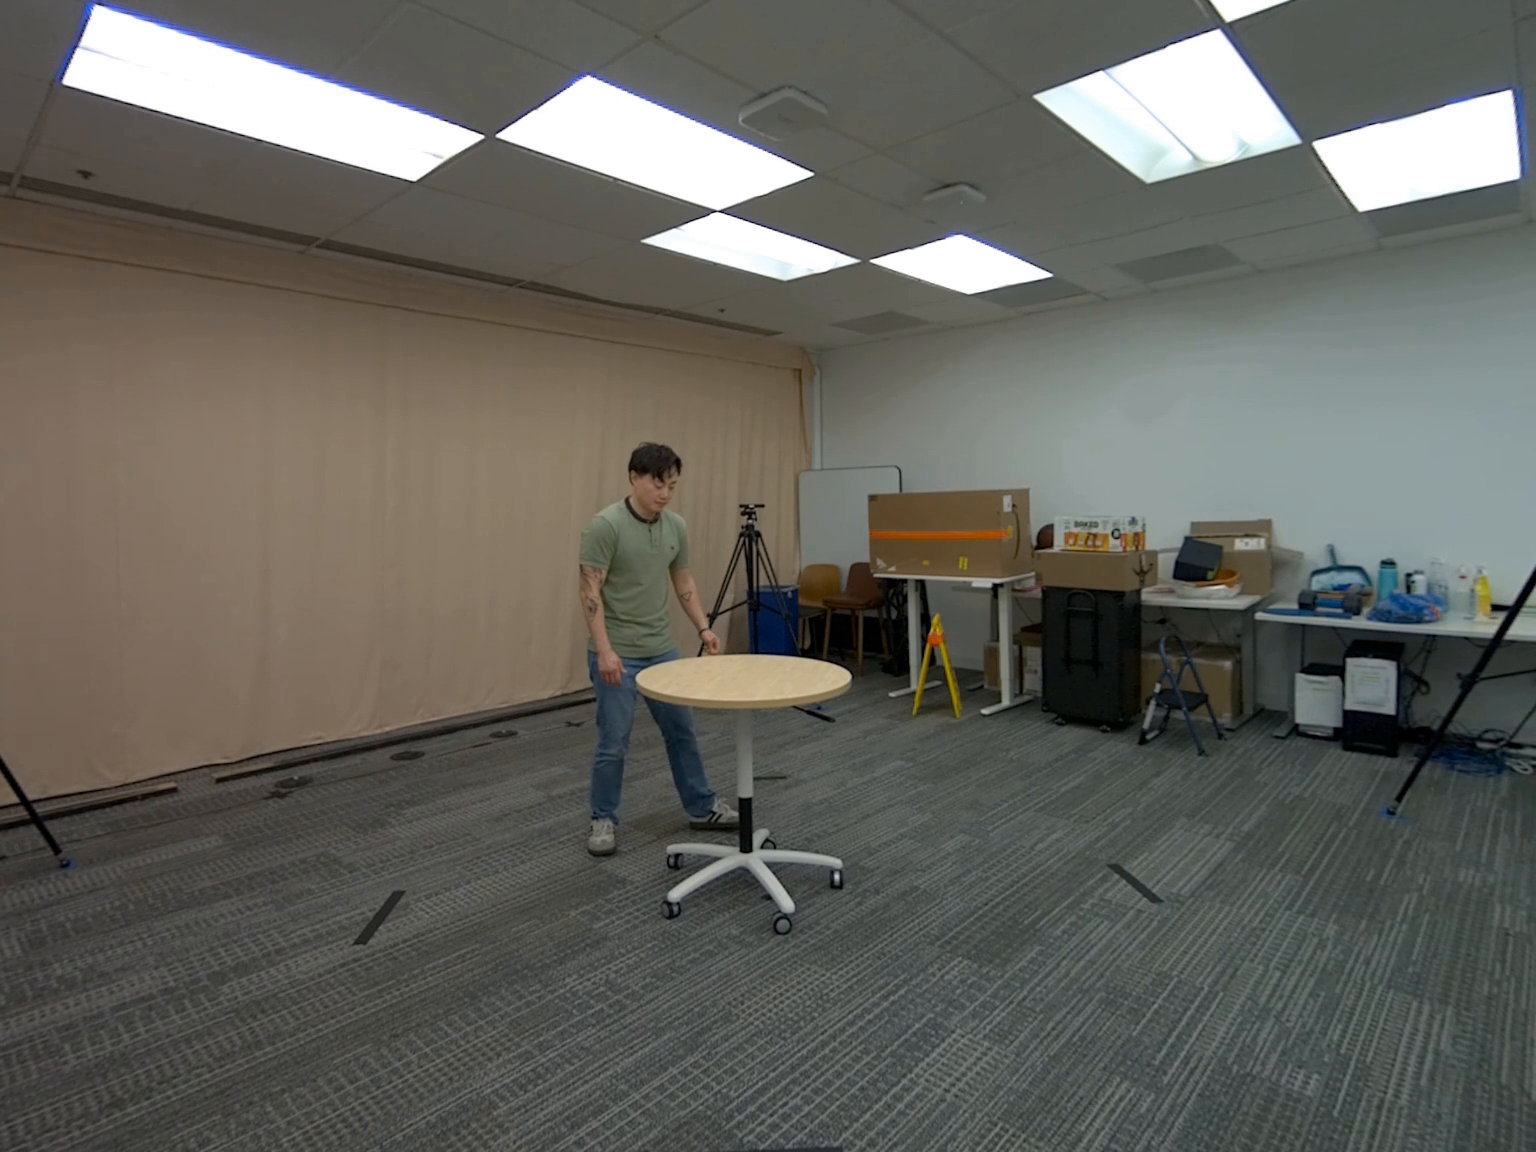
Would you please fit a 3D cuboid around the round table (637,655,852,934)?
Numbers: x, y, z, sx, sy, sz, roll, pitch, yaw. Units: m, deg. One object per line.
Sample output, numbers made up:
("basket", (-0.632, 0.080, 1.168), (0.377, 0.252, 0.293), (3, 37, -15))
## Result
("round table", (-0.073, 0.748, 3.028), (0.763, 0.792, 0.767), (-1, 4, -2))
